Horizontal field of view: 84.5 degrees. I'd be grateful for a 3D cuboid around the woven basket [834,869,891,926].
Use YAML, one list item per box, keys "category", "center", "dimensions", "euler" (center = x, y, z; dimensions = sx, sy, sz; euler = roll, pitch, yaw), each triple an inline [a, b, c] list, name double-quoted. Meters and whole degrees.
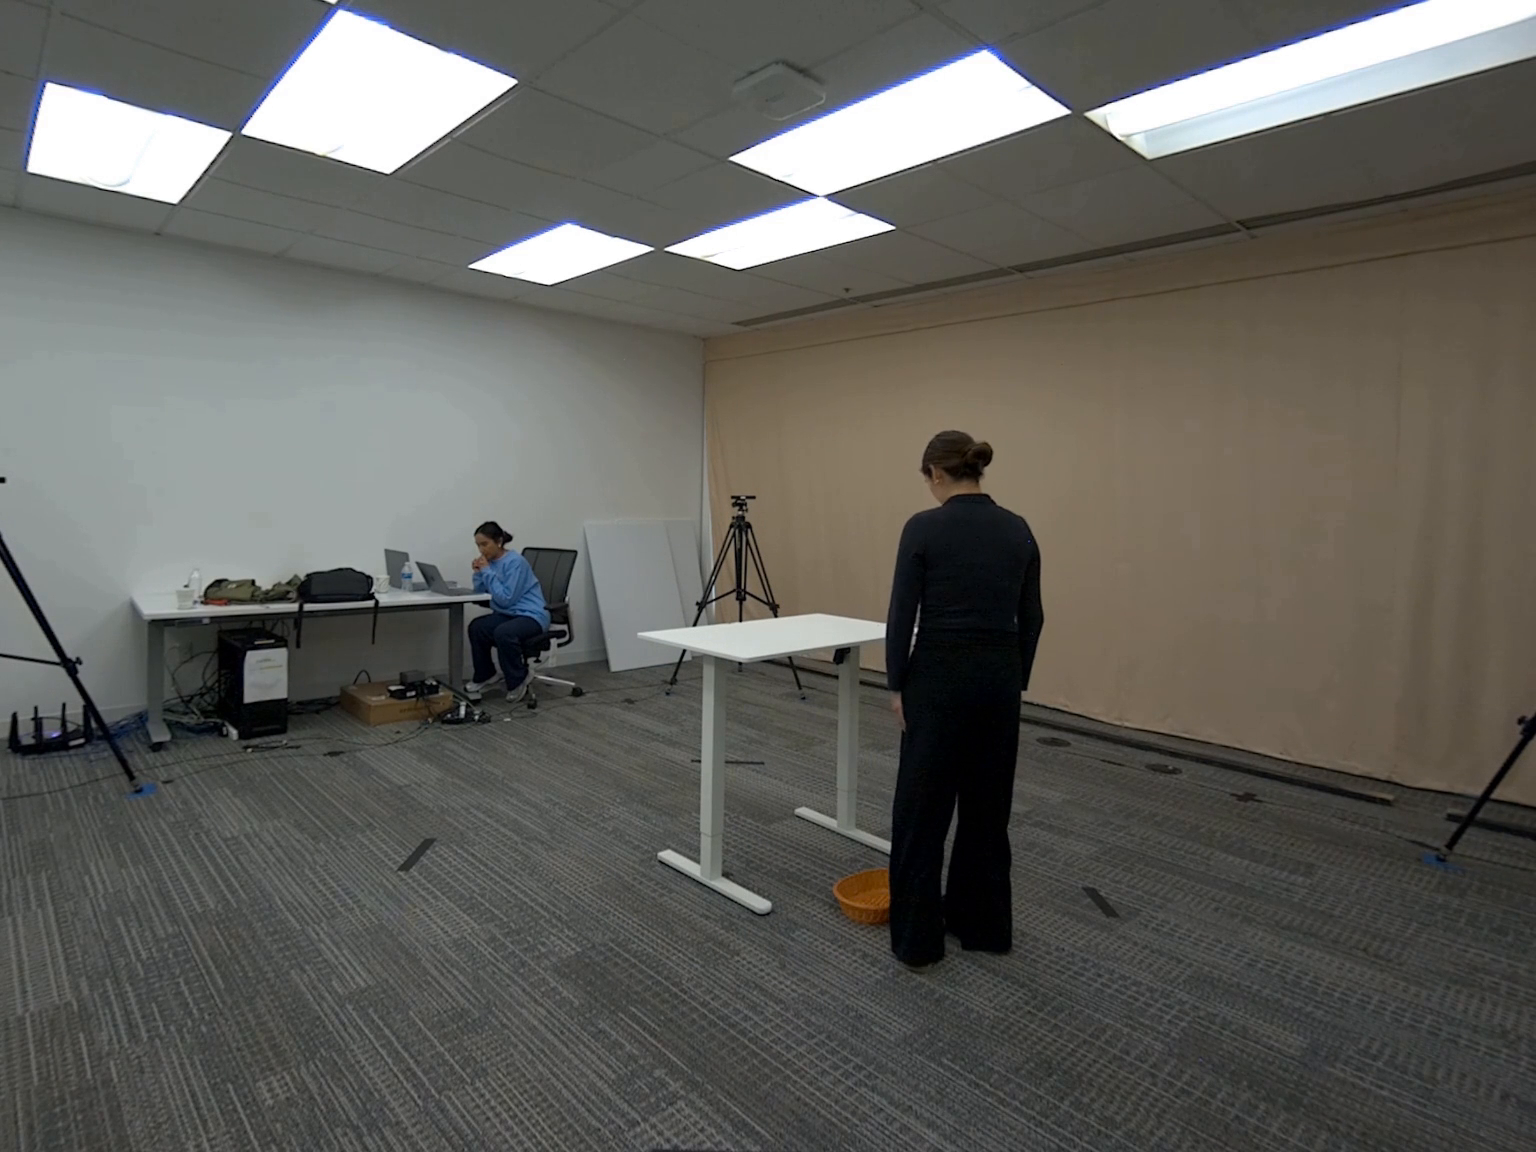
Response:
- category: "woven basket"
  center: [0.377, 1.089, 2.878]
  dimensions: [0.343, 0.073, 0.258]
  euler: [-2, 6, -37]
